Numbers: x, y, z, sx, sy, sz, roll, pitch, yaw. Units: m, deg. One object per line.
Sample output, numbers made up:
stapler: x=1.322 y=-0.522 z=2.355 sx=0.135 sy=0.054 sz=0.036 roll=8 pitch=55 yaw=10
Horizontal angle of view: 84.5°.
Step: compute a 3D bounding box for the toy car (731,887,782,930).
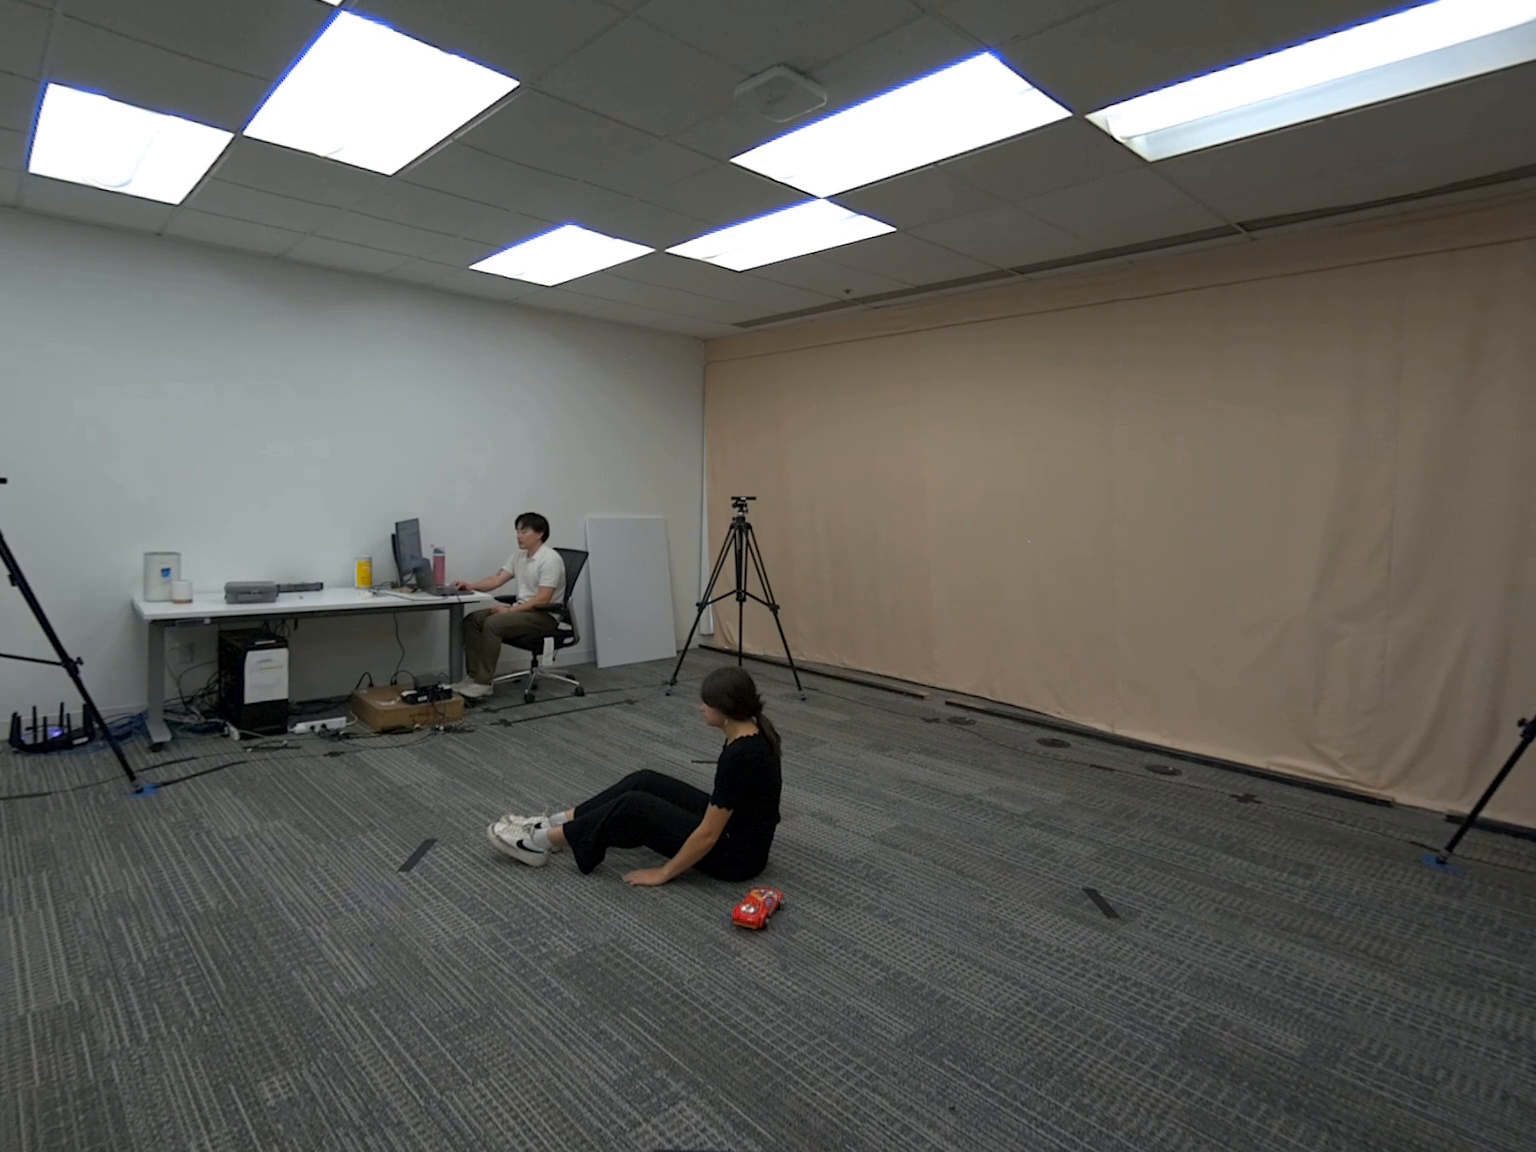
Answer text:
toy car: x=-0.051 y=1.106 z=2.786 sx=0.132 sy=0.083 sz=0.249 roll=3 pitch=-6 yaw=22
